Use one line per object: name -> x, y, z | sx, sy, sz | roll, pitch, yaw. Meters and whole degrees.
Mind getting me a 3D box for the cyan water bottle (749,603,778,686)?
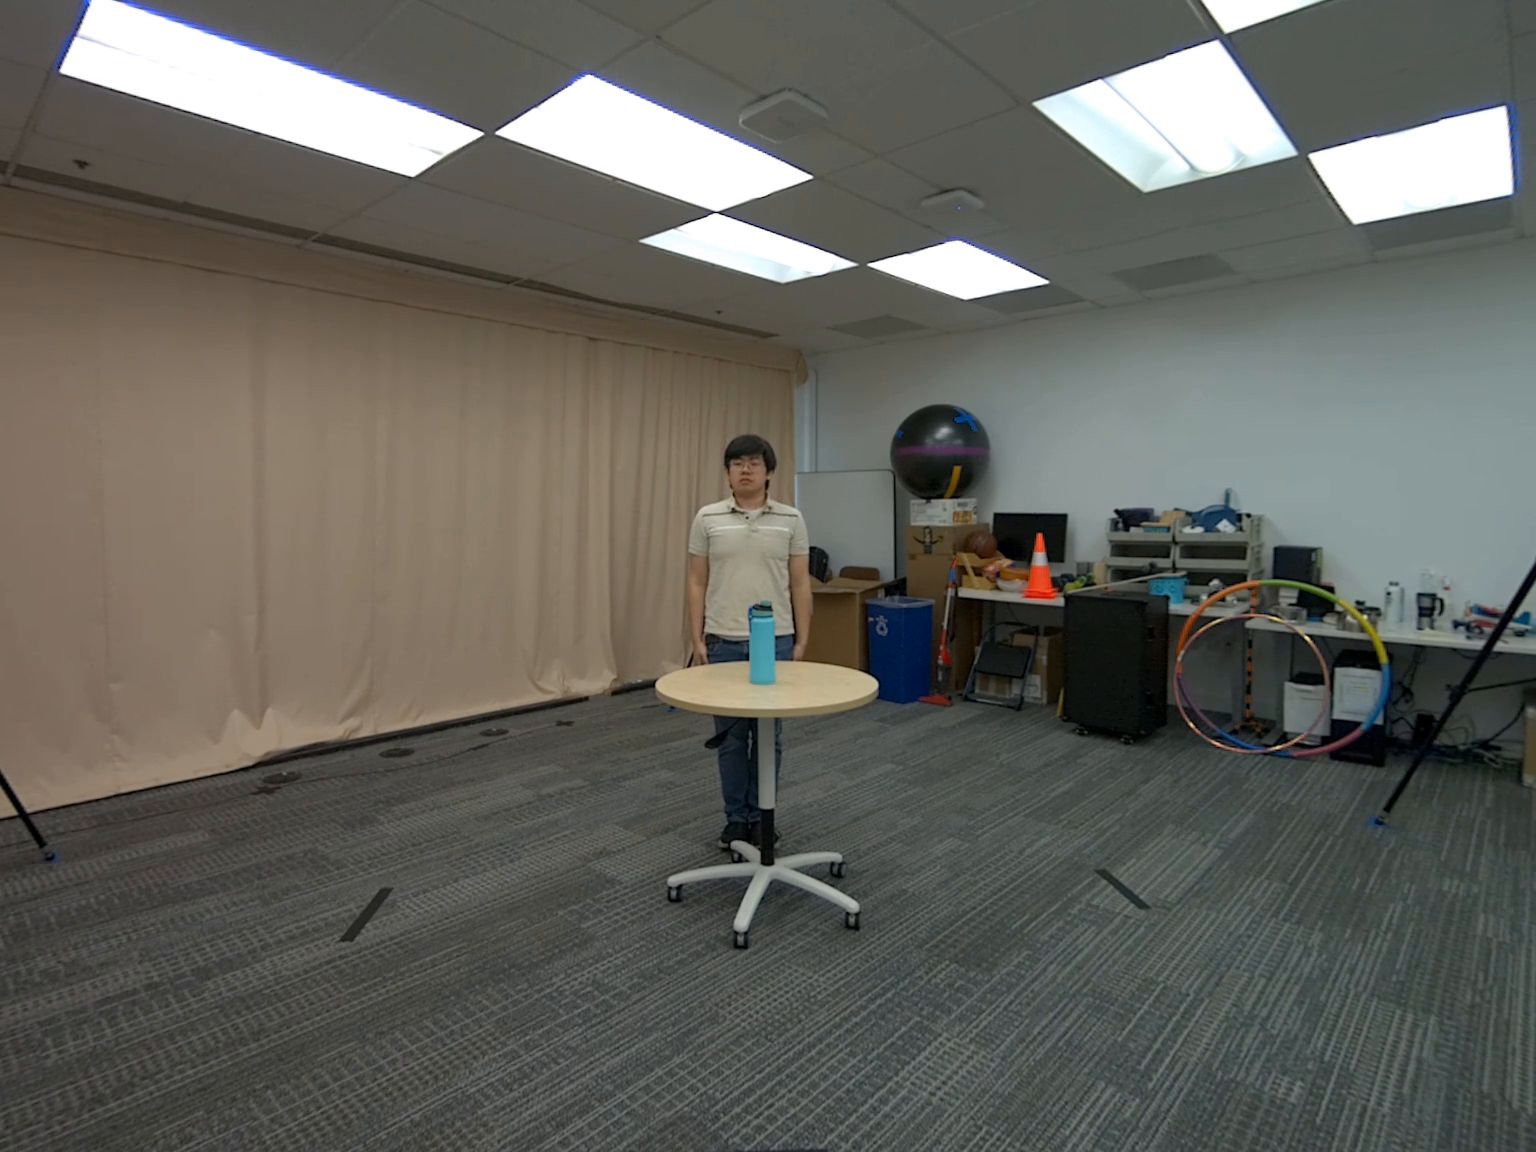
cyan water bottle -> -0.013, 0.229, 2.910 | 0.092, 0.283, 0.092 | 1, 1, -2
